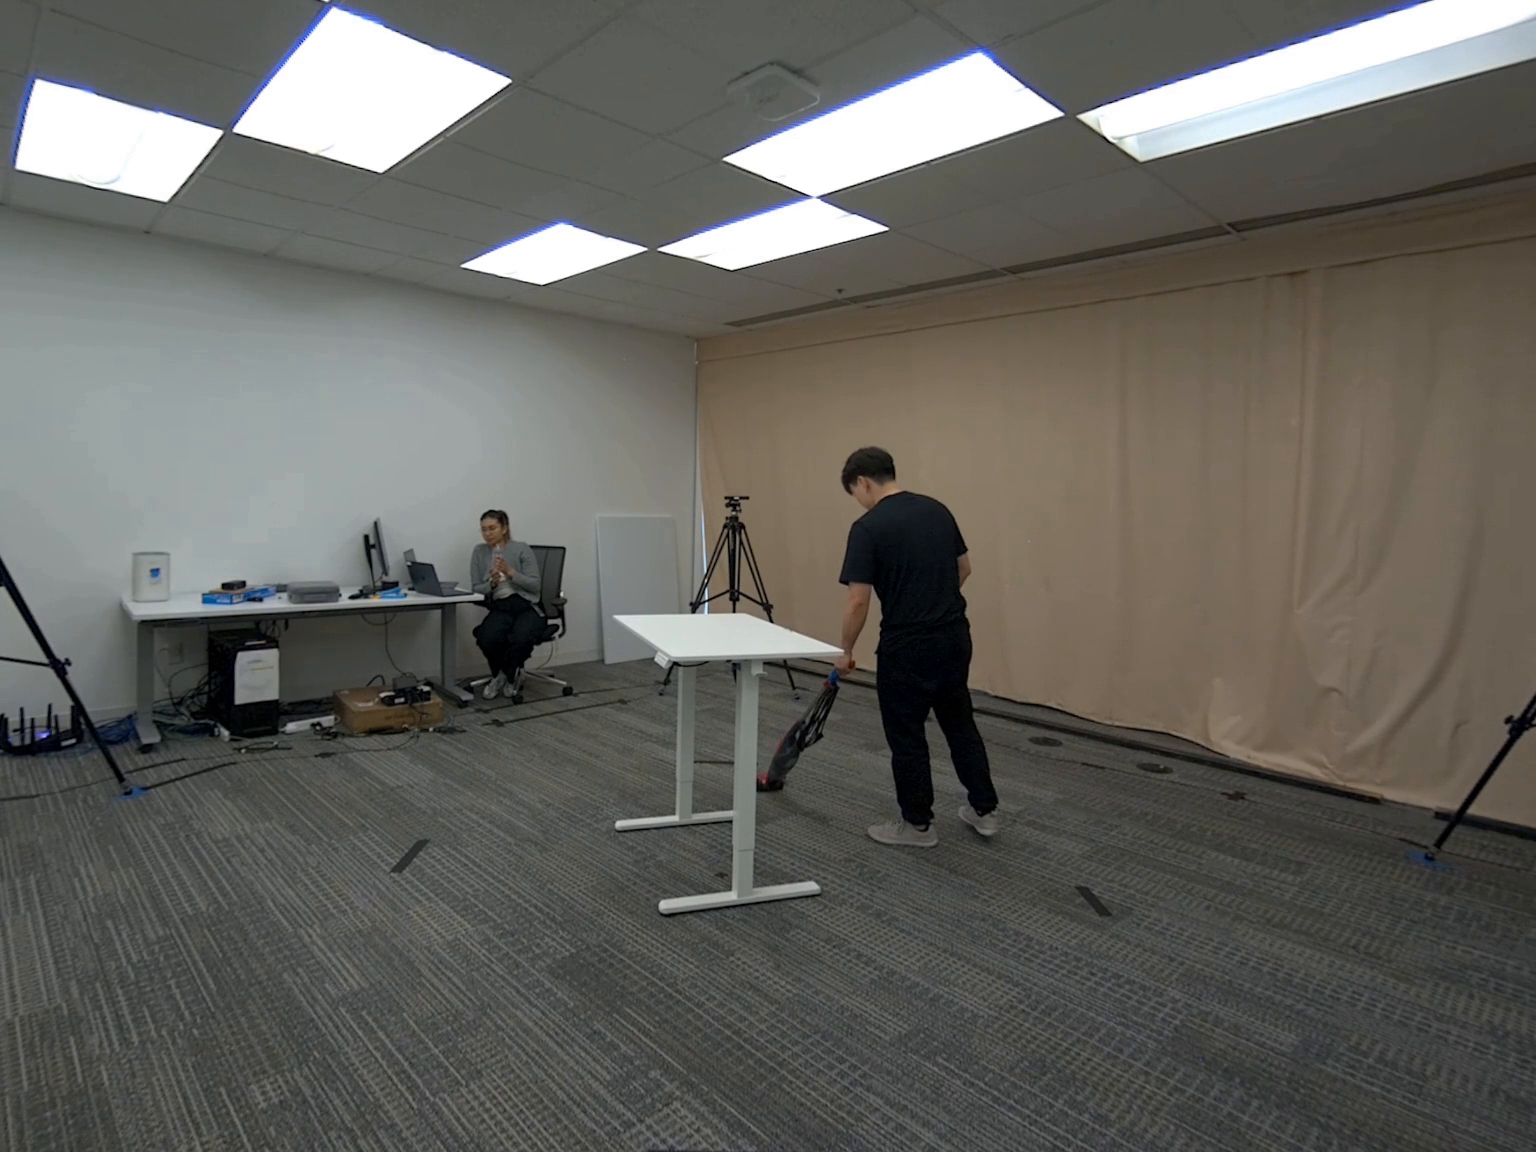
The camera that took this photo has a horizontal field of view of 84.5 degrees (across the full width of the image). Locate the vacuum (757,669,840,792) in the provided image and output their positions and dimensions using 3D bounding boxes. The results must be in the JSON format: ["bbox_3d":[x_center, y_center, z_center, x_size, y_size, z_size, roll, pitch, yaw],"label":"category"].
[{"bbox_3d":[0.152,0.676,3.726,0.248,0.148,1.040,4,-39,-24],"label":"vacuum"}]
